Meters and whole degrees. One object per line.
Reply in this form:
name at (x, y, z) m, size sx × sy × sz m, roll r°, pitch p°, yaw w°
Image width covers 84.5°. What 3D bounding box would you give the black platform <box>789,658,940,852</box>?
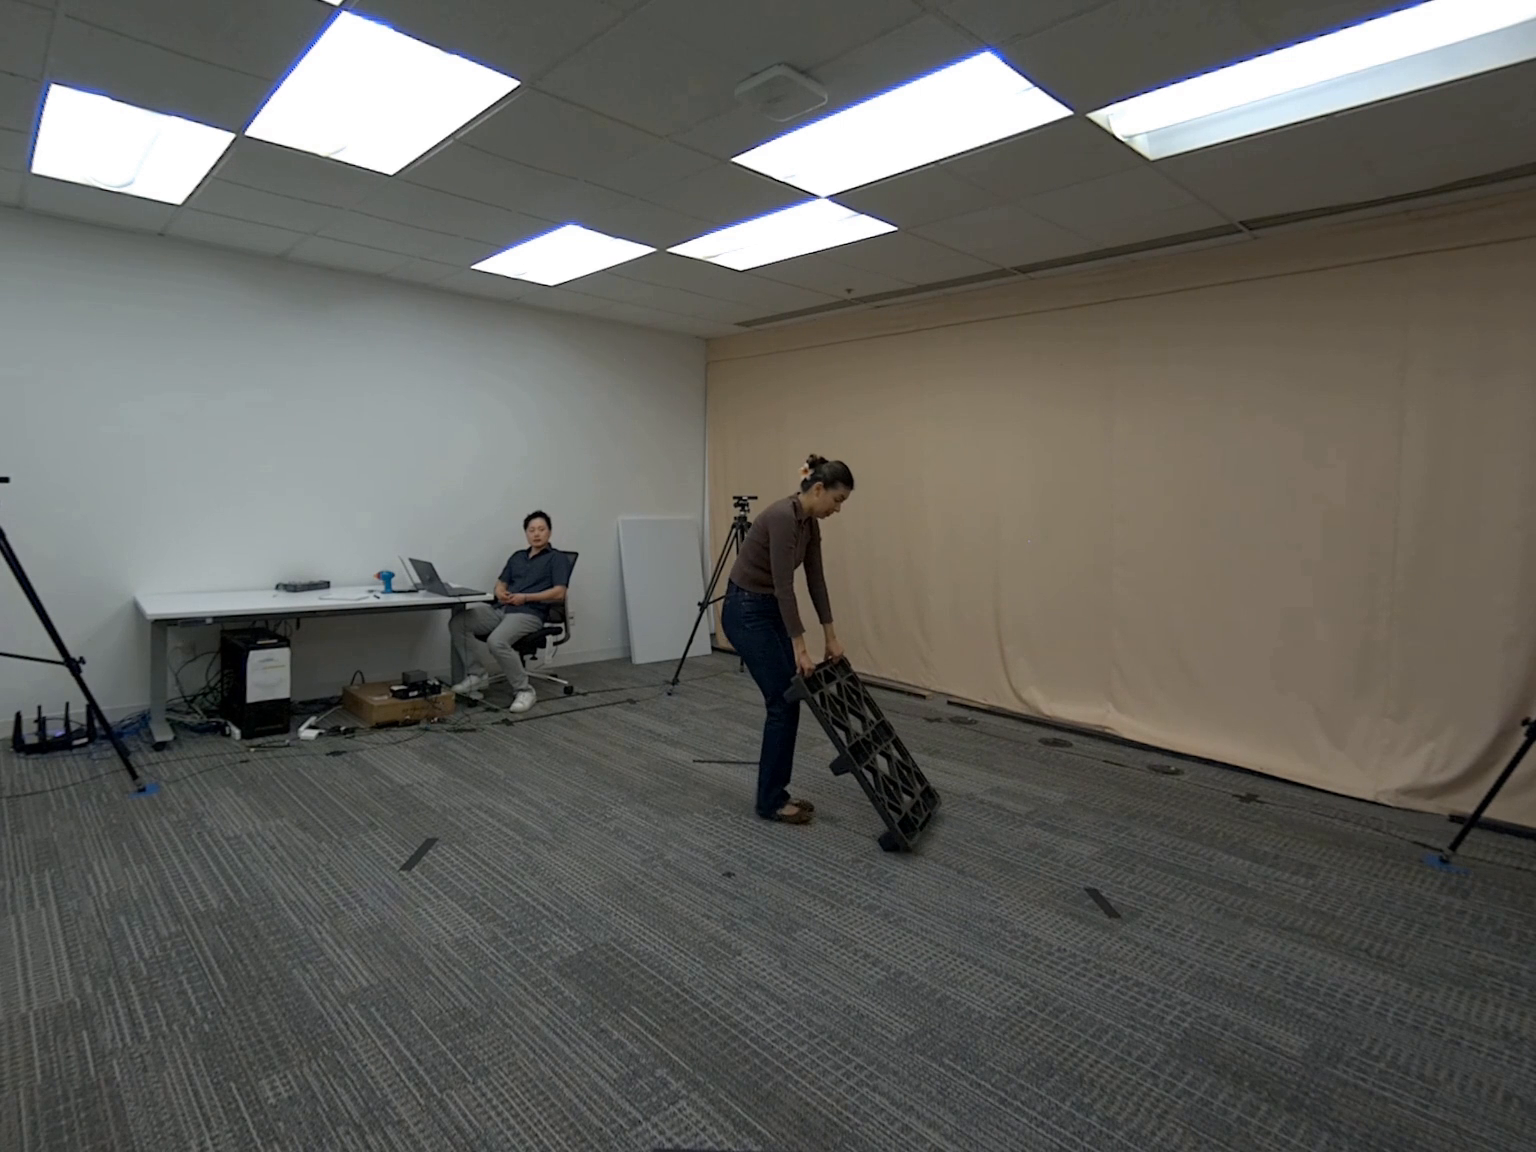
black platform at (0.393, 0.738, 3.624) m, size 0.144 × 0.816 × 0.595 m, roll -38°, pitch -12°, yaw 20°
